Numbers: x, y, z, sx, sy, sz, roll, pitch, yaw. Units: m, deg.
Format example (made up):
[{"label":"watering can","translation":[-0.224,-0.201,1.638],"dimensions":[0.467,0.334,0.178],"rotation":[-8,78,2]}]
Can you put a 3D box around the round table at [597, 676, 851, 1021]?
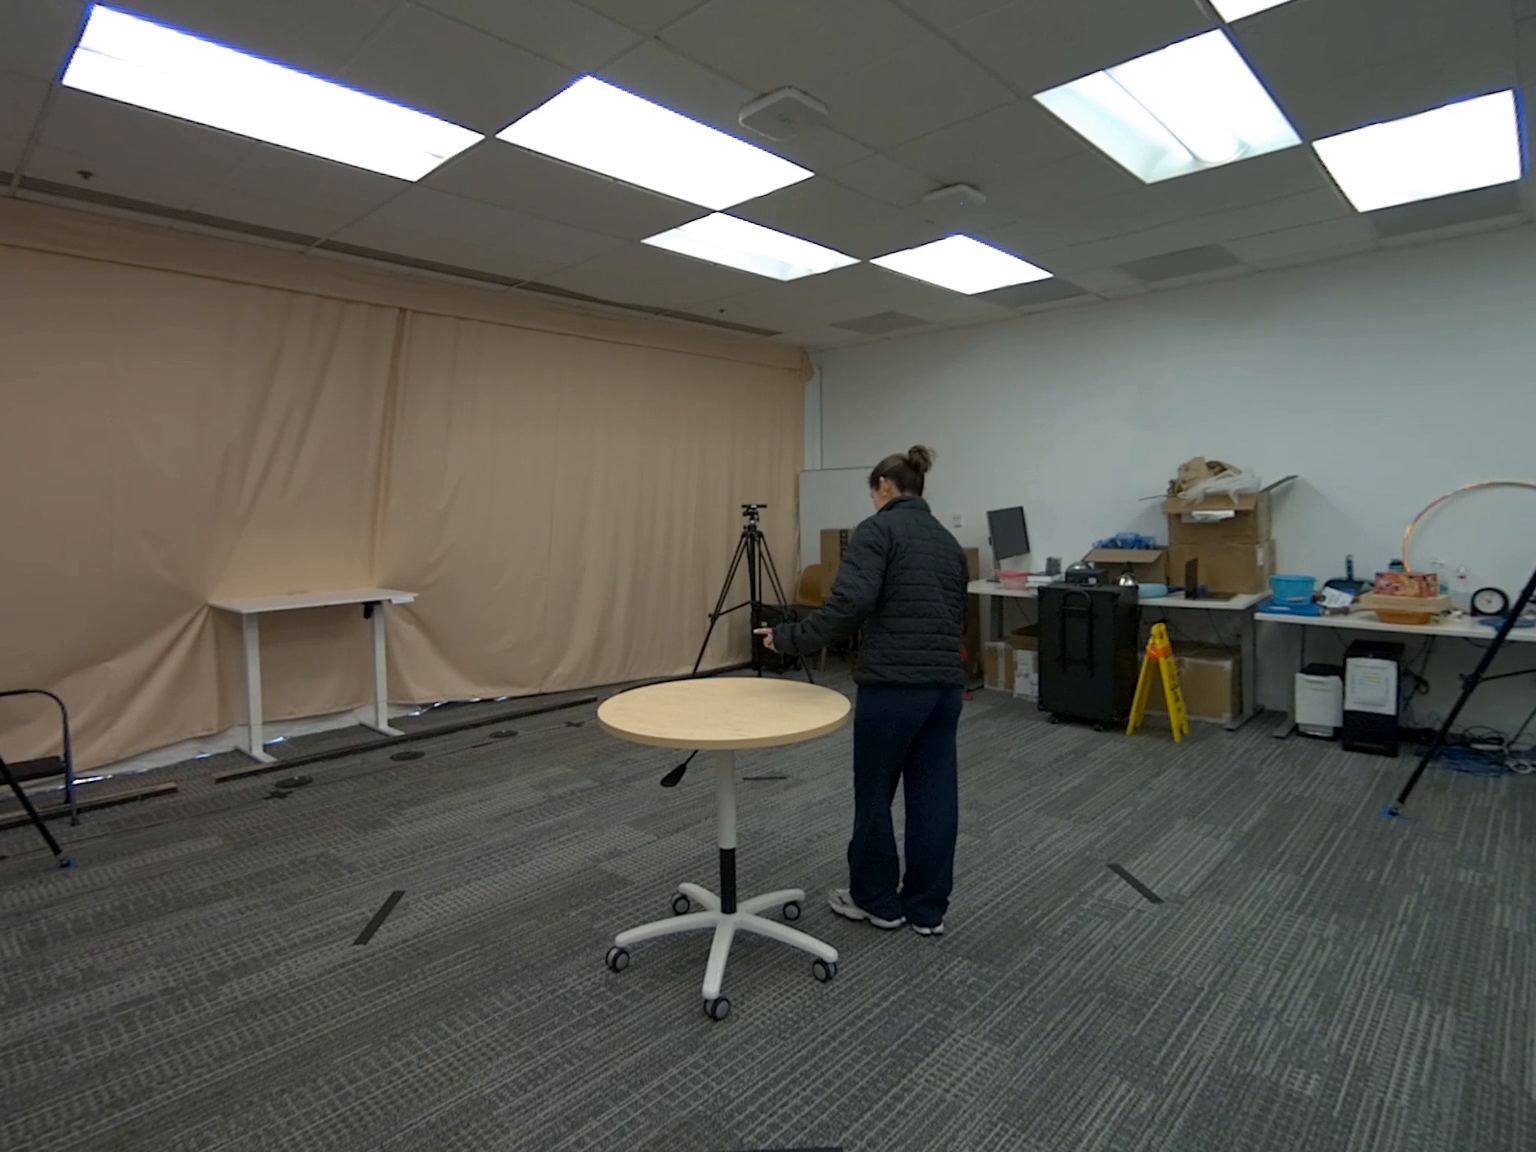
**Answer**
[{"label":"round table","translation":[-0.097,0.782,2.597],"dimensions":[0.784,0.784,0.788],"rotation":[-1,5,-2]}]
